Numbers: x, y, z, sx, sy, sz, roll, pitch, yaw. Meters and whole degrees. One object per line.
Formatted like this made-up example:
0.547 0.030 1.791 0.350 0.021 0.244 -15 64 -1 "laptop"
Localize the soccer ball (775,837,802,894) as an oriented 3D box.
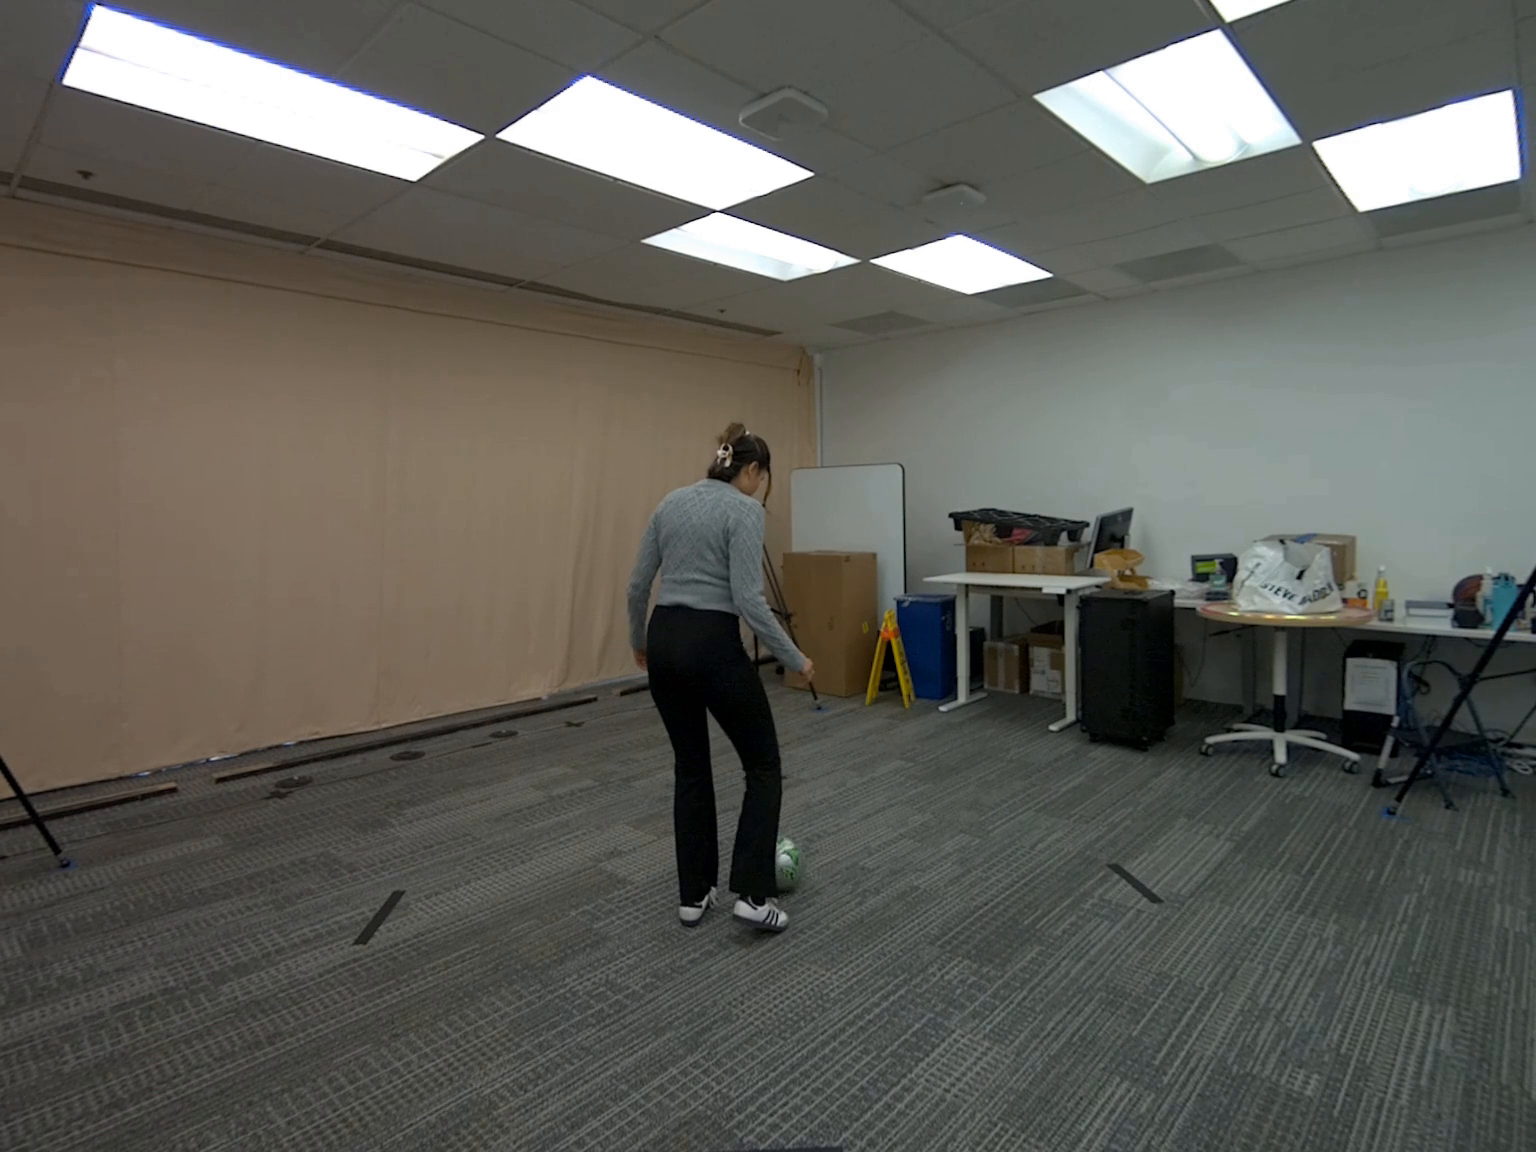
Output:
0.045 1.037 3.051 0.187 0.187 0.188 -1 4 -2 "soccer ball"
